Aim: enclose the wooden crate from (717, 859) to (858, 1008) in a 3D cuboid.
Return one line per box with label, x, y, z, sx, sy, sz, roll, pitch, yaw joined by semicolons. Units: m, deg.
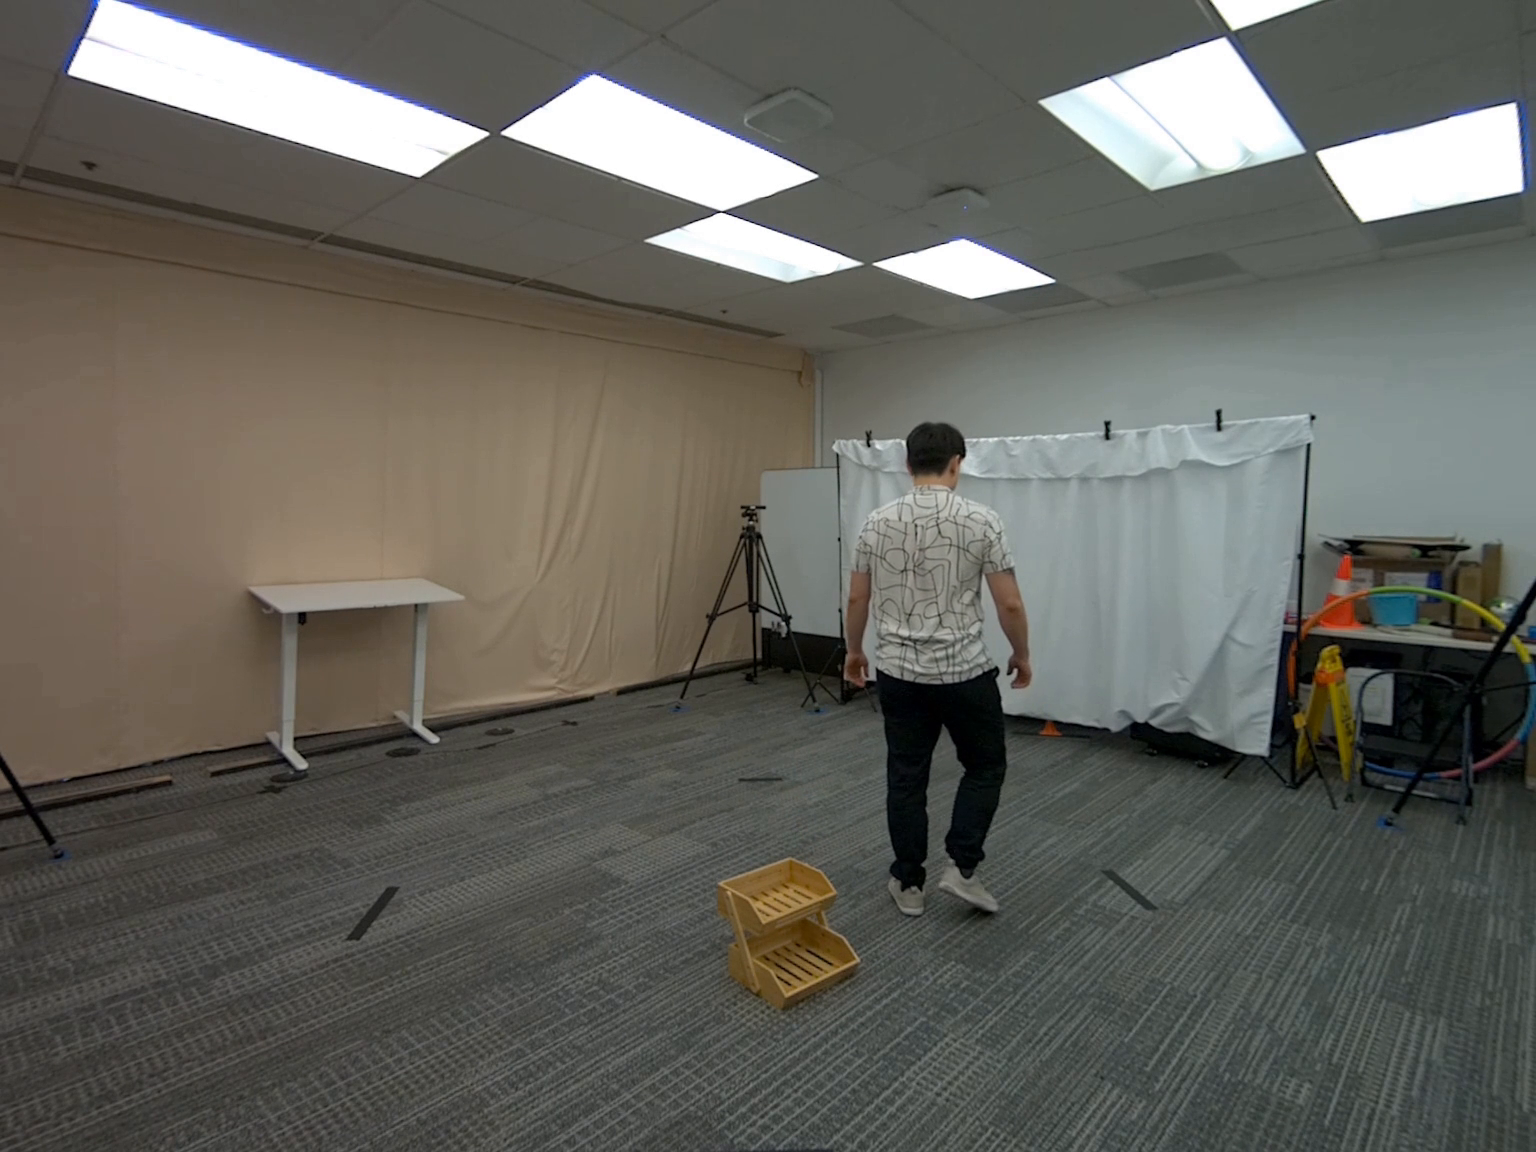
wooden crate;0.065;1.052;2.502;0.315;0.273;0.312;-3;4;-40
